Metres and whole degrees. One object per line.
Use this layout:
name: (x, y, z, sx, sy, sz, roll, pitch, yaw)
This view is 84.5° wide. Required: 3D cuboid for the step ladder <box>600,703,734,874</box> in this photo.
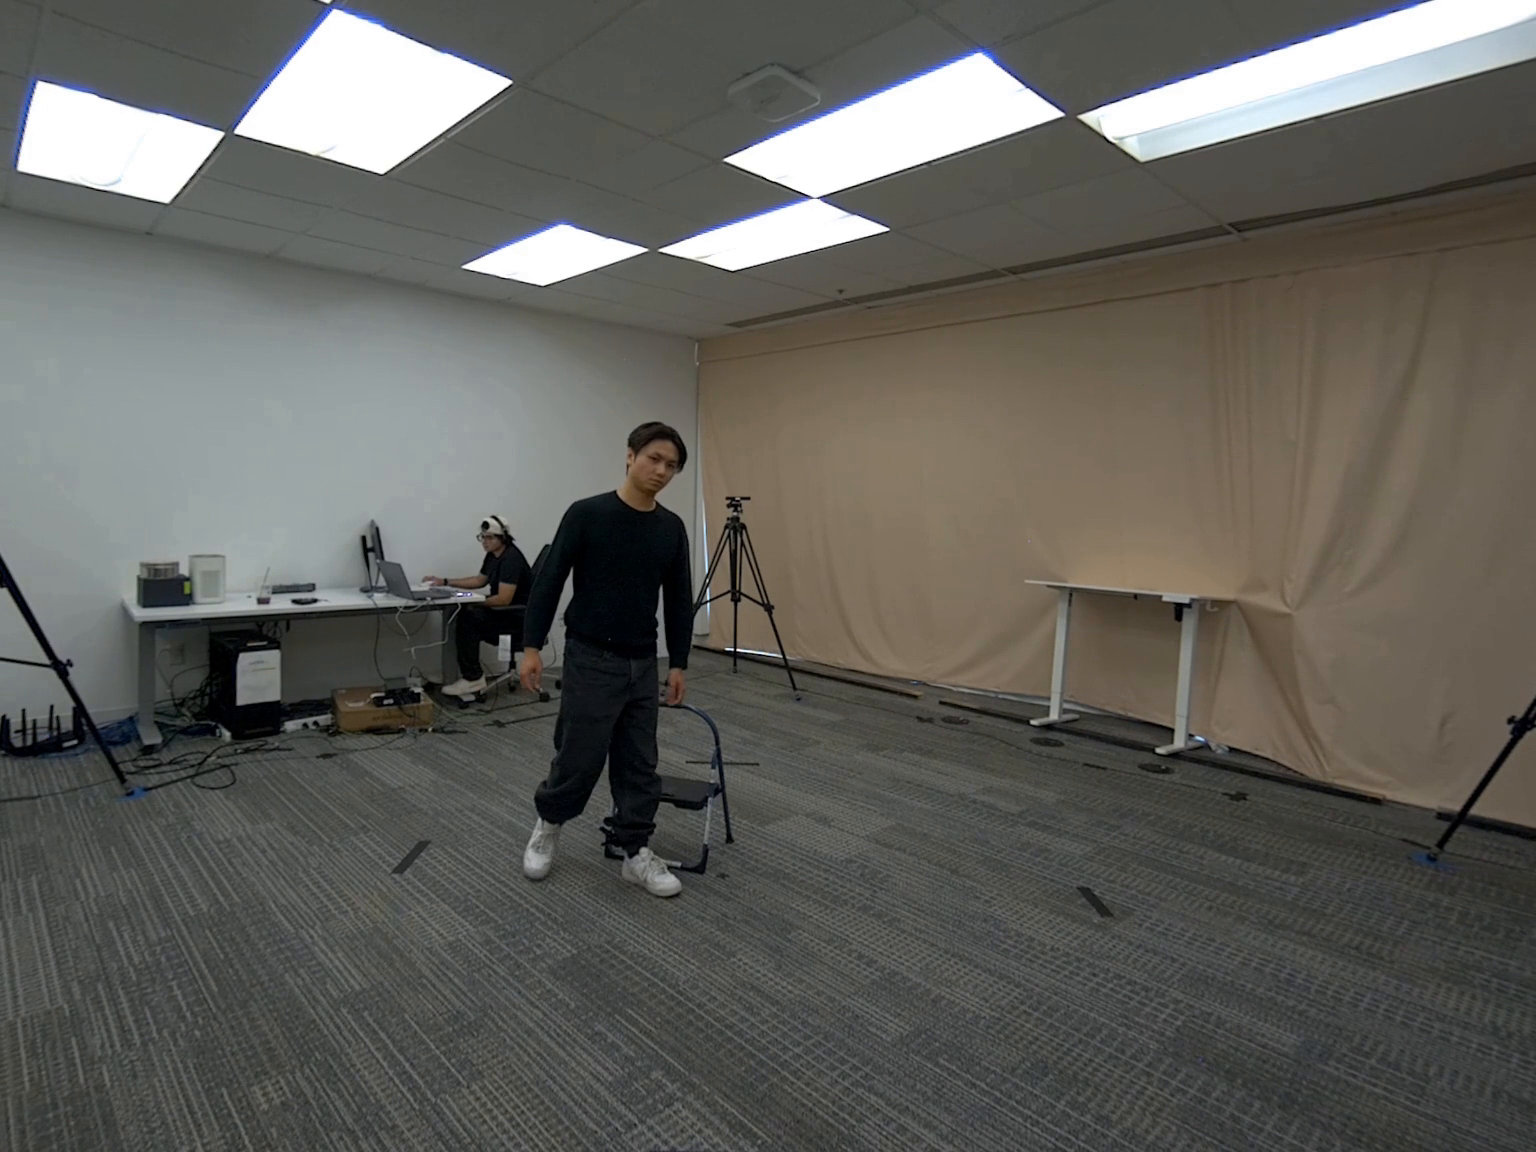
step ladder: (-0.384, 0.780, 3.321, 0.437, 0.605, 0.345, 3, 3, 17)
